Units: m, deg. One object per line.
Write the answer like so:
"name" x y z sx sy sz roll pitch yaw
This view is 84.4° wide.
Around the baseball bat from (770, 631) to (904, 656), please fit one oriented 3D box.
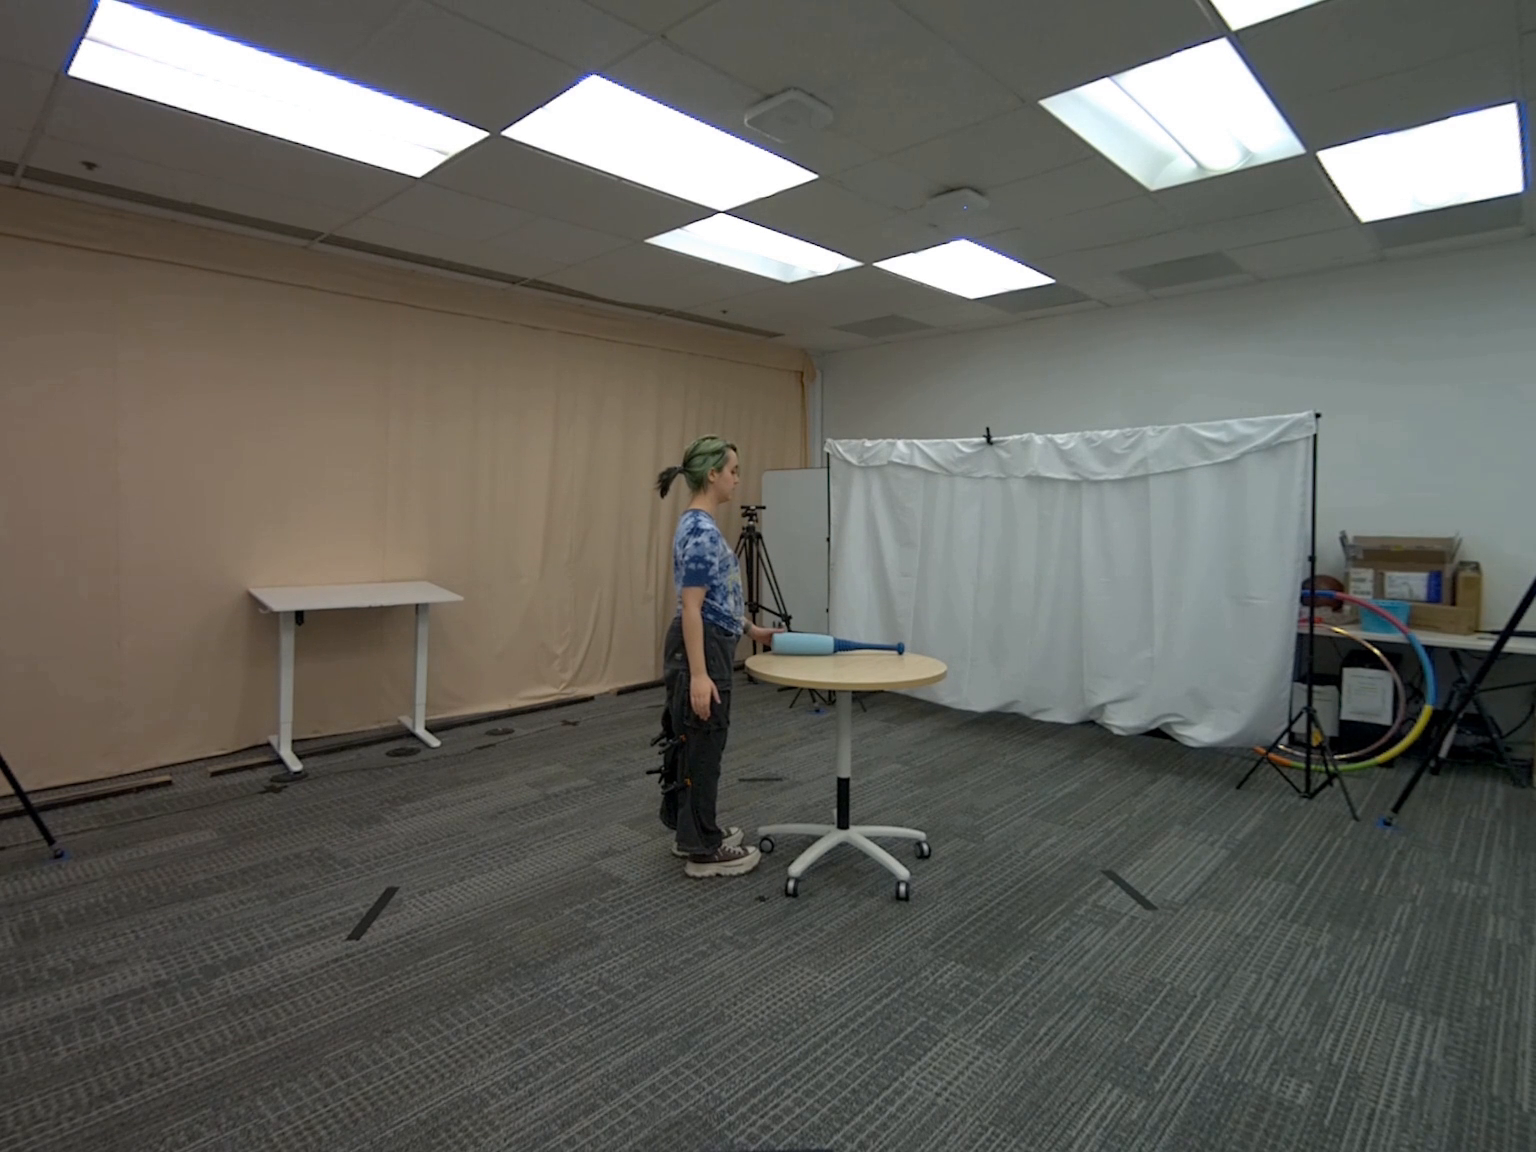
"baseball bat" 0.290 0.285 3.428 0.541 0.089 0.089 2 4 -3
